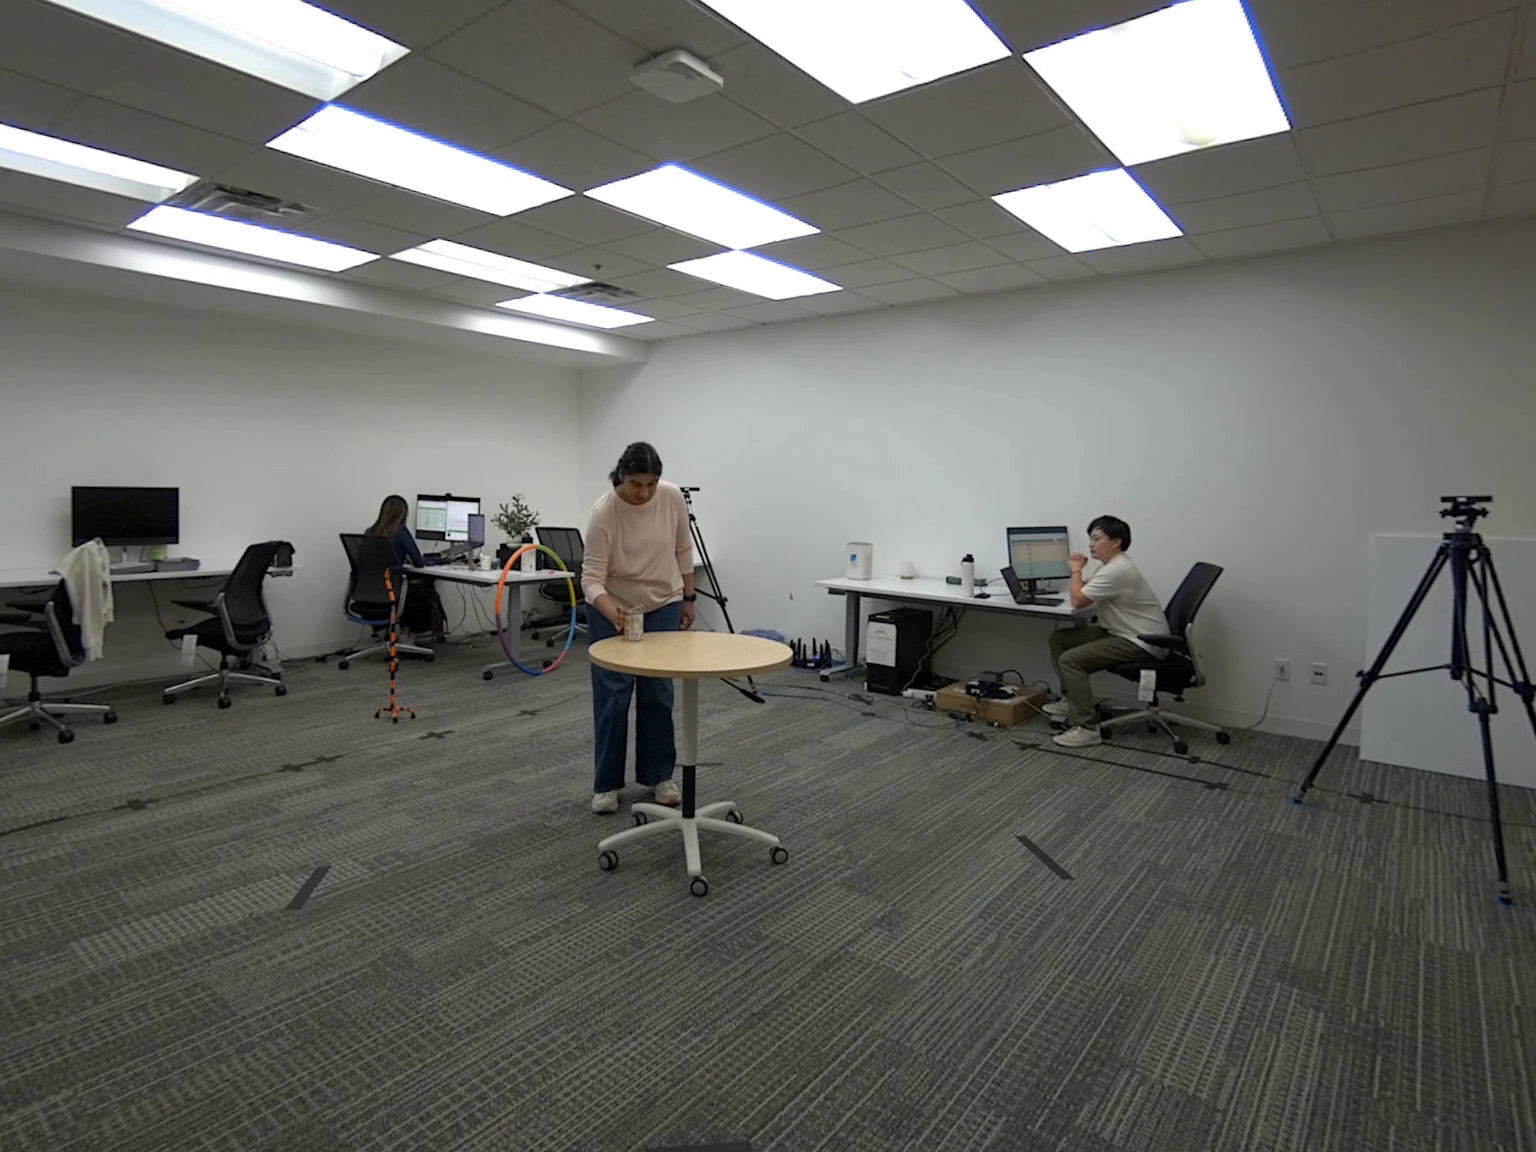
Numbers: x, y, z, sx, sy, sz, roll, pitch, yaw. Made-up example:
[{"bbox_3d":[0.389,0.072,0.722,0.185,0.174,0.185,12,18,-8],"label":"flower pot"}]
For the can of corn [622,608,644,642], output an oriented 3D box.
[{"bbox_3d":[-0.551,0.195,3.348,0.074,0.110,0.075,0,7,-2],"label":"can of corn"}]
